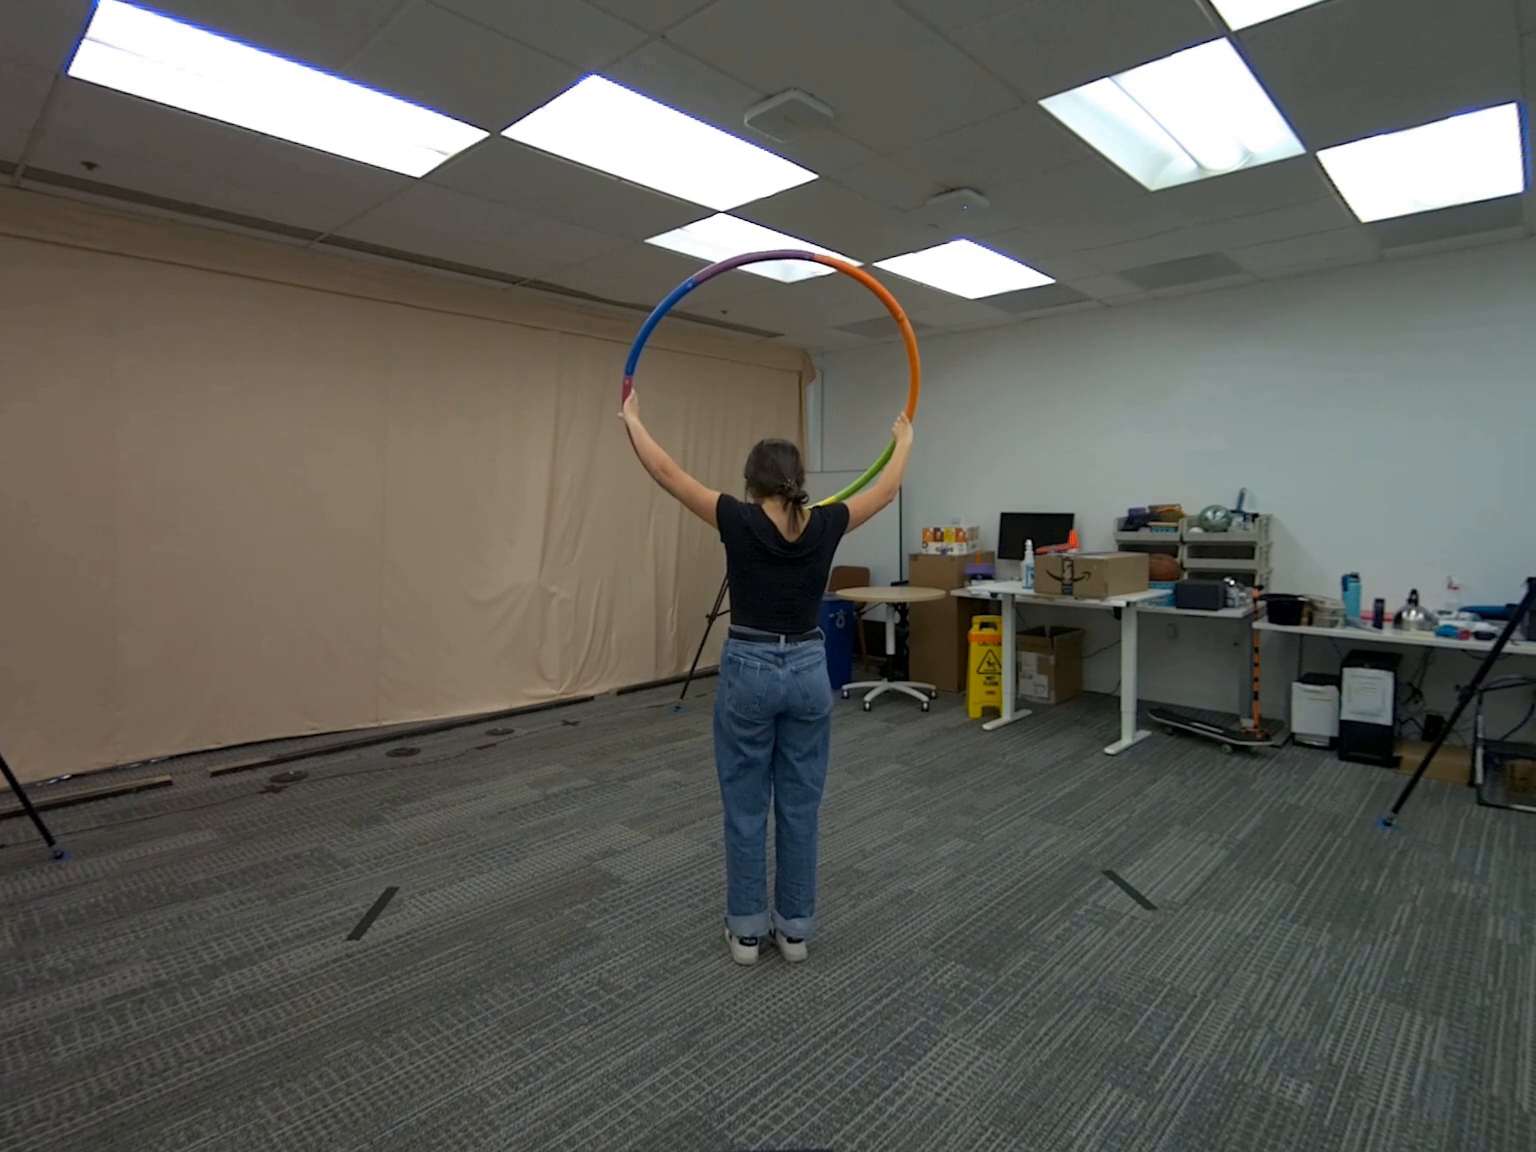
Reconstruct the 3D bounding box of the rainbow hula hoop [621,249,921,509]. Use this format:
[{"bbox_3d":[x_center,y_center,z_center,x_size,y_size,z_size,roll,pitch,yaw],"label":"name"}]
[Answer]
[{"bbox_3d":[0.026,-0.583,2.810,0.973,0.963,0.036,0,36,-6],"label":"rainbow hula hoop"}]
